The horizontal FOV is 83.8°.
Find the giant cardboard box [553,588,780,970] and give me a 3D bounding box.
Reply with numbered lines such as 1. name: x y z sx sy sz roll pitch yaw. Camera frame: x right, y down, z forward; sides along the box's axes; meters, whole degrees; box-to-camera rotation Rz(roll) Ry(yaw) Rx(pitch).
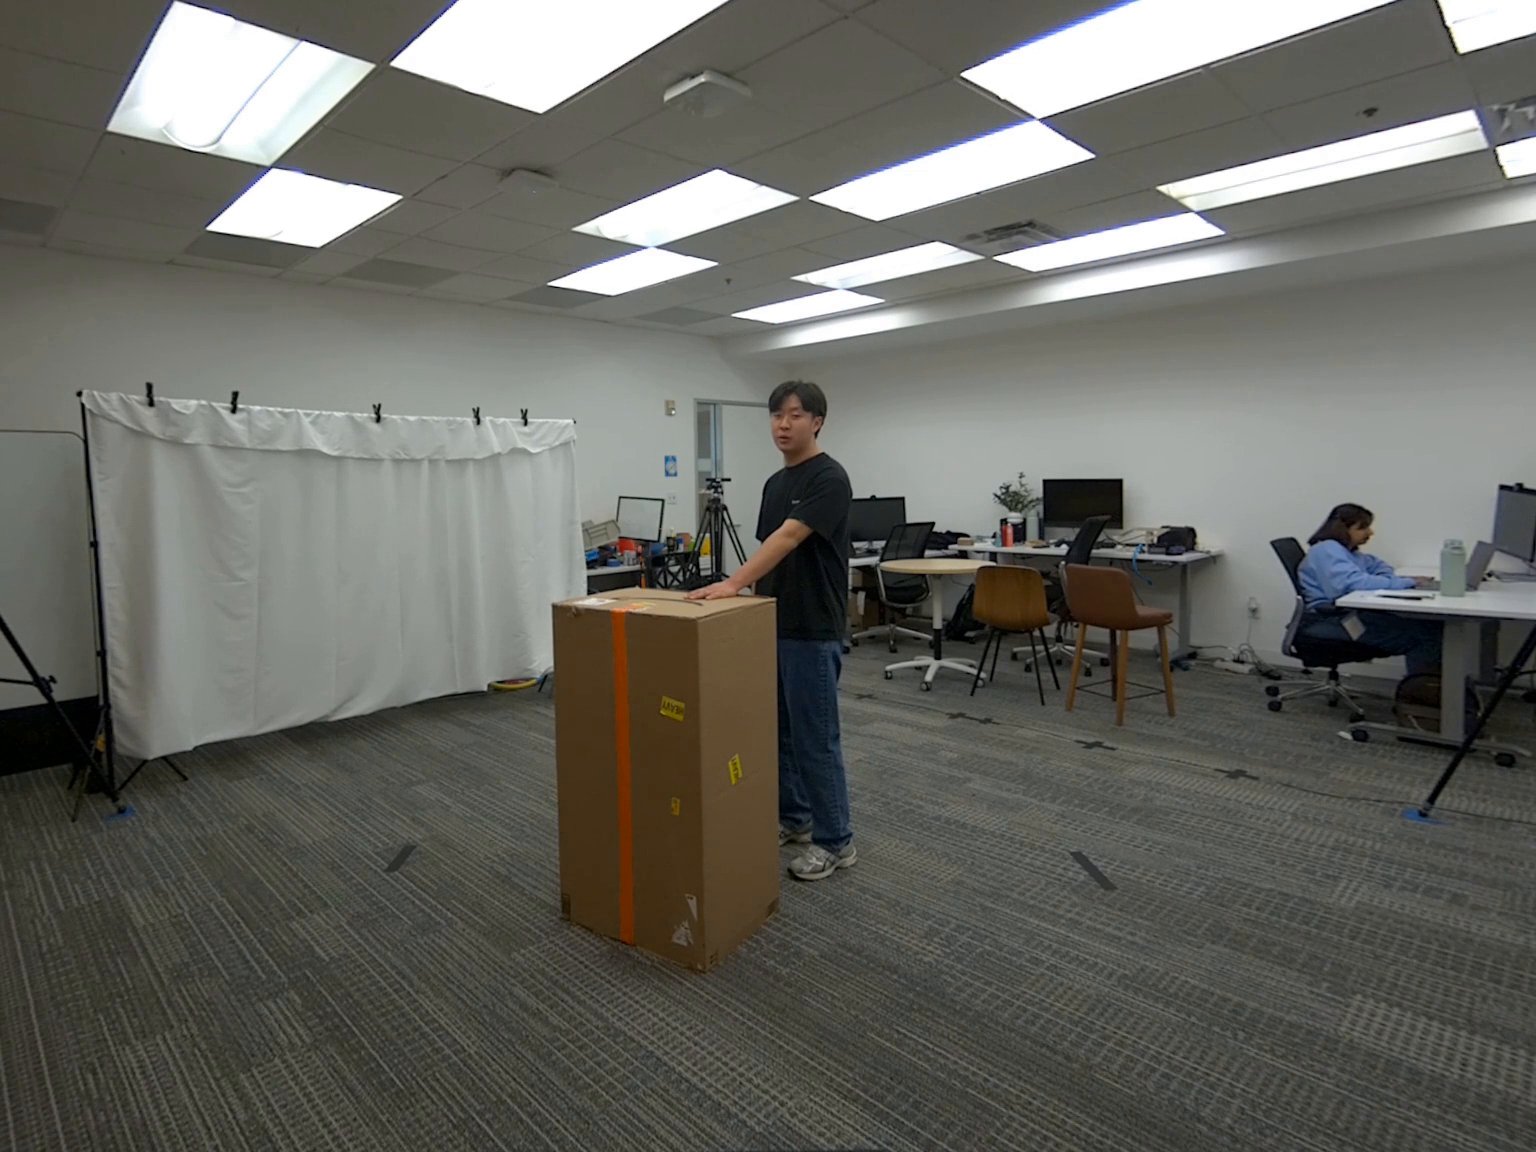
1. giant cardboard box: -0.321 0.581 2.714 0.601 1.022 0.436 2 6 35
